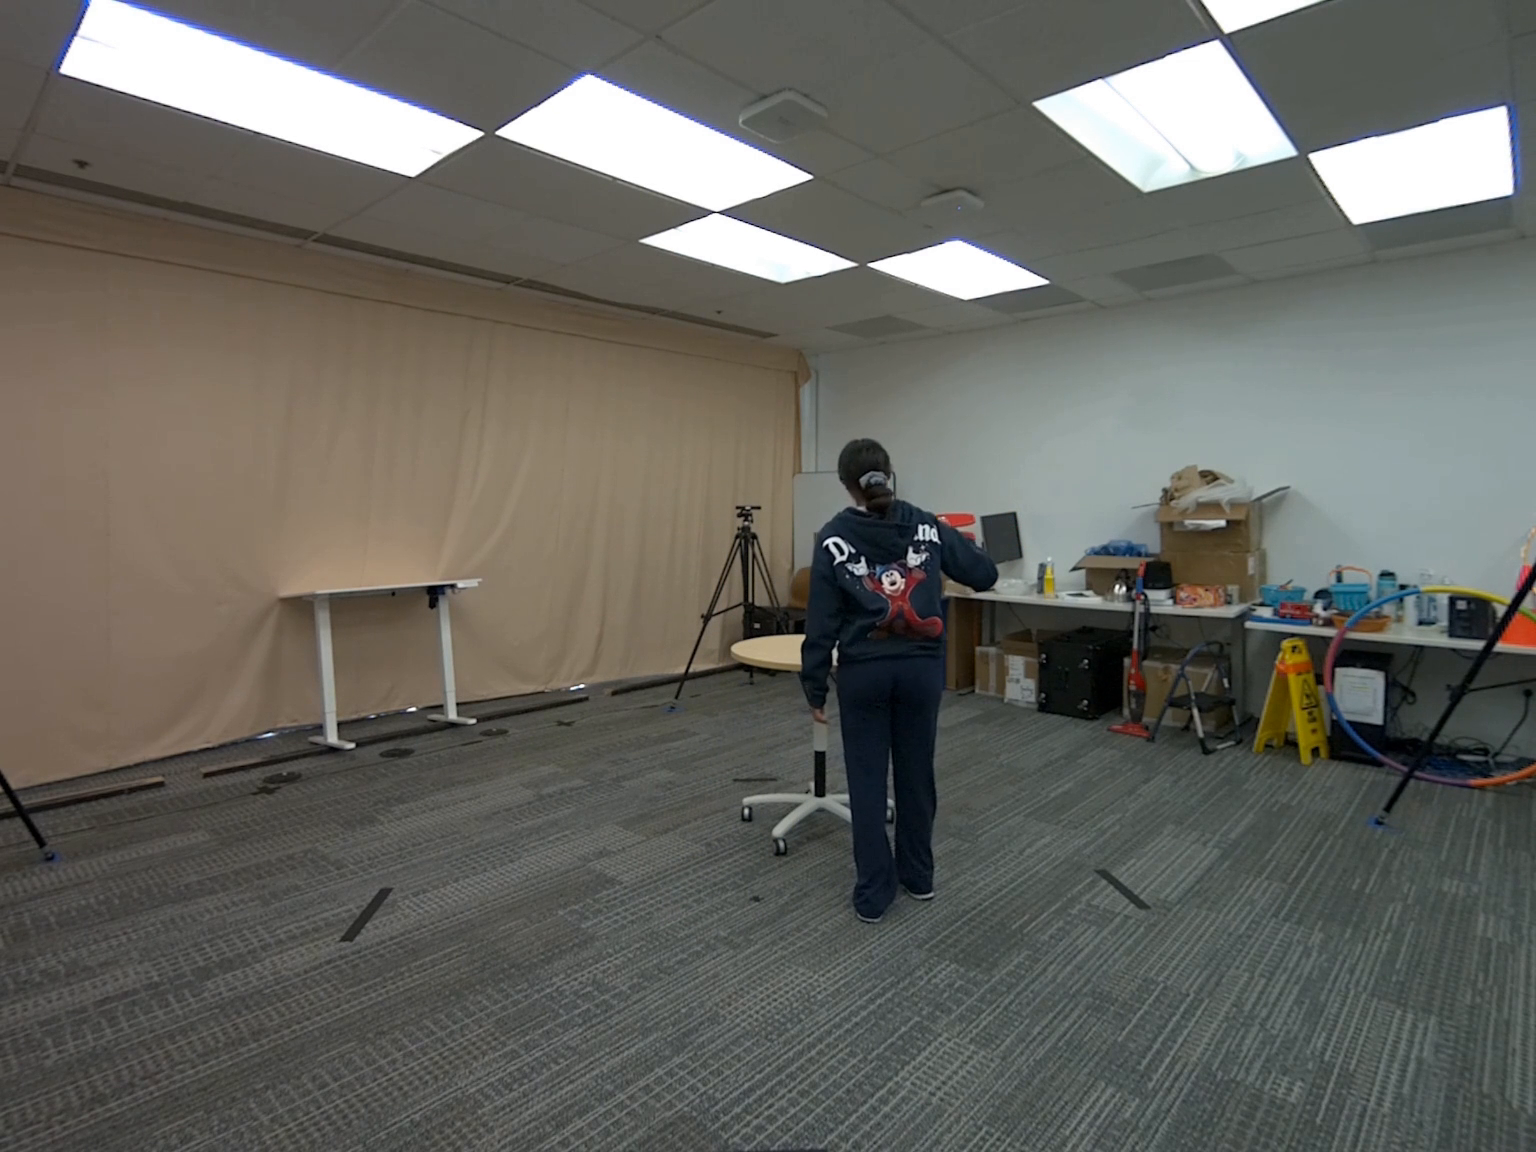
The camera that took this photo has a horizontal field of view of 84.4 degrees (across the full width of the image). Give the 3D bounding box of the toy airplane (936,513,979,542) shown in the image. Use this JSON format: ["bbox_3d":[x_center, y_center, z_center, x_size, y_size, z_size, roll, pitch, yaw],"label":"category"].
[{"bbox_3d":[0.712,-0.161,3.201,0.246,0.154,0.267,-14,18,-23],"label":"toy airplane"}]
